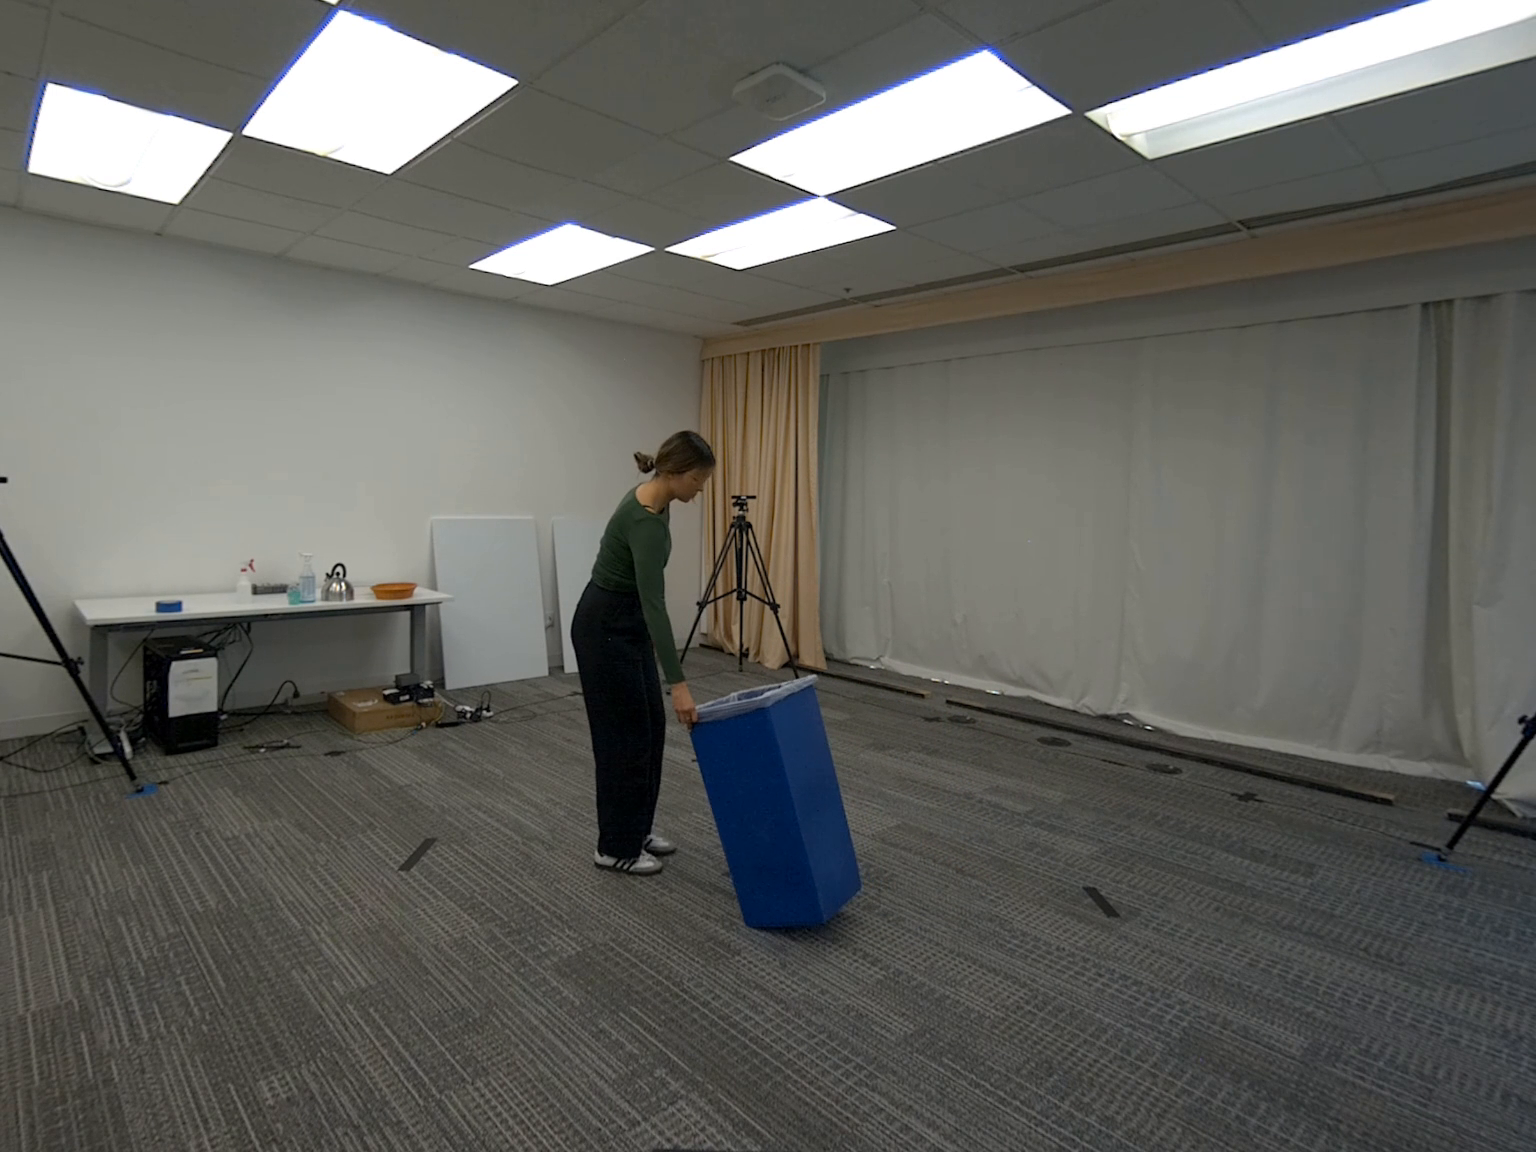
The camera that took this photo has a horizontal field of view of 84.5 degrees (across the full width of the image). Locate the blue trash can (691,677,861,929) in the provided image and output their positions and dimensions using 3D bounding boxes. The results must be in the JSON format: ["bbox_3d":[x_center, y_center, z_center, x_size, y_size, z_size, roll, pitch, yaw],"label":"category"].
[{"bbox_3d":[0.031,0.745,2.809,0.379,0.718,0.371,-19,-7,30],"label":"blue trash can"}]
